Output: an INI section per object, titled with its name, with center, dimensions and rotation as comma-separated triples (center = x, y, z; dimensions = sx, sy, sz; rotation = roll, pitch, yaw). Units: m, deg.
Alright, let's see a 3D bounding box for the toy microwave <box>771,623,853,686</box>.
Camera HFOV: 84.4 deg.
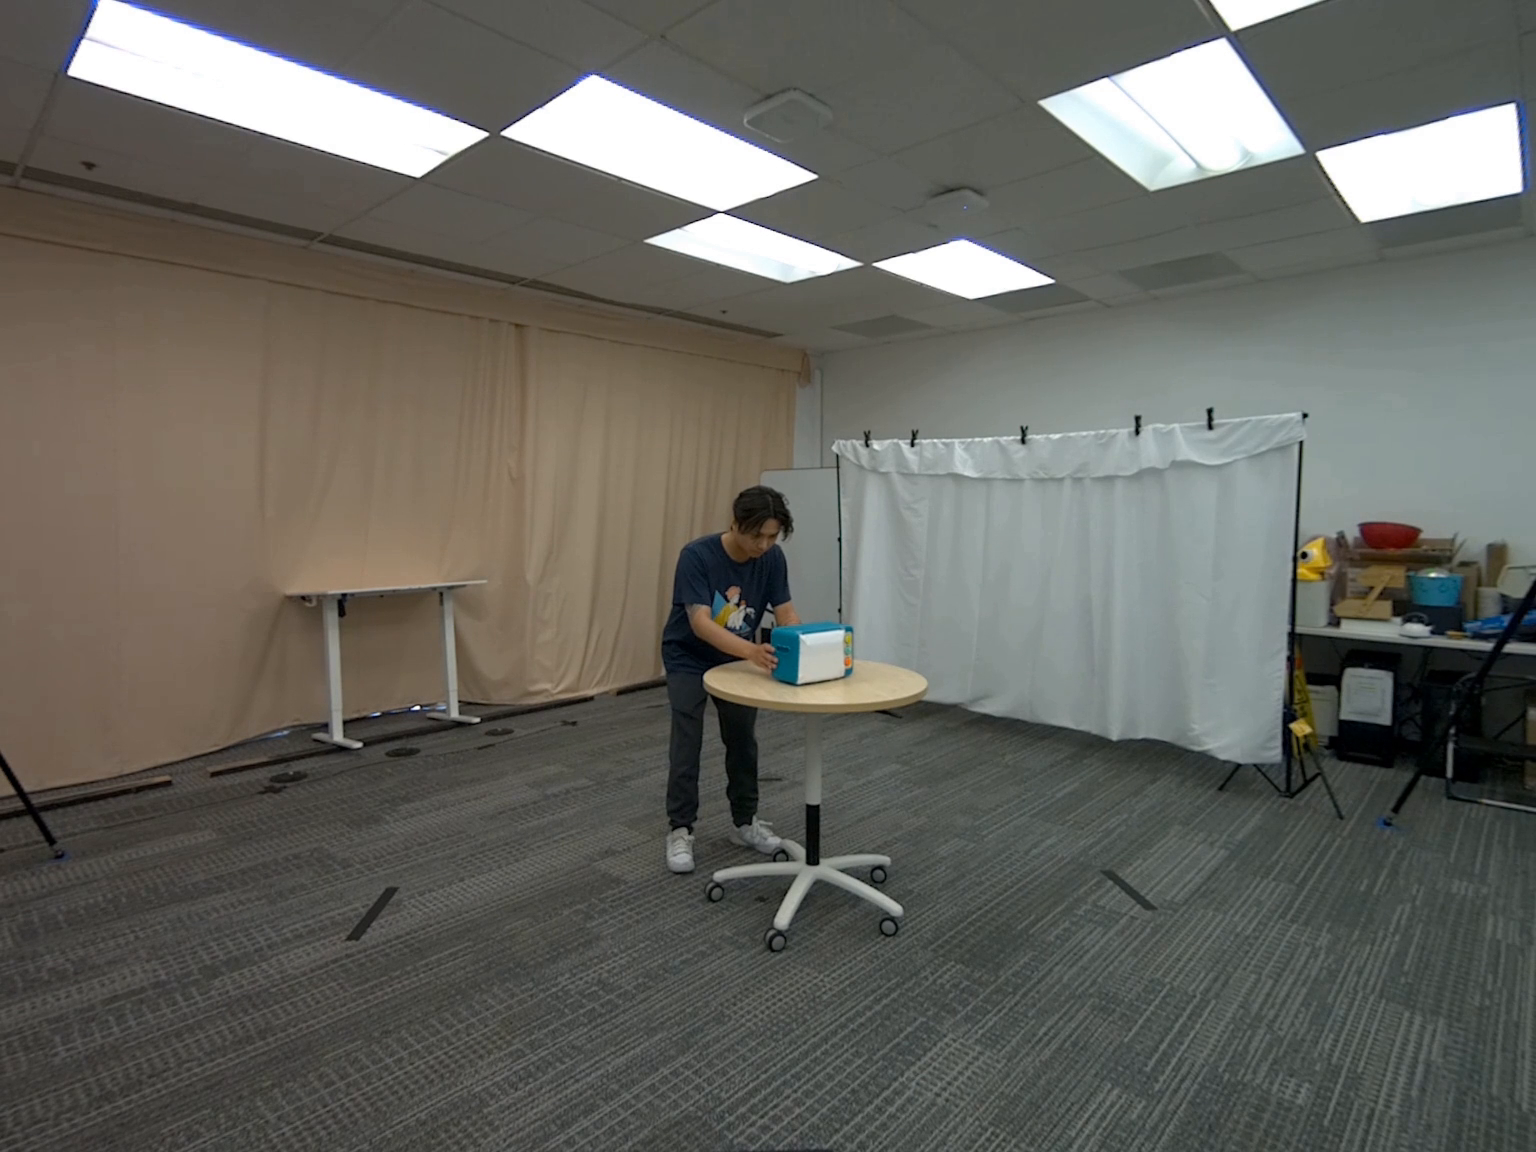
[toy microwave]
center = 0.159, 0.261, 2.878
dimensions = 0.278, 0.183, 0.157
rotation = -4, 6, -37
